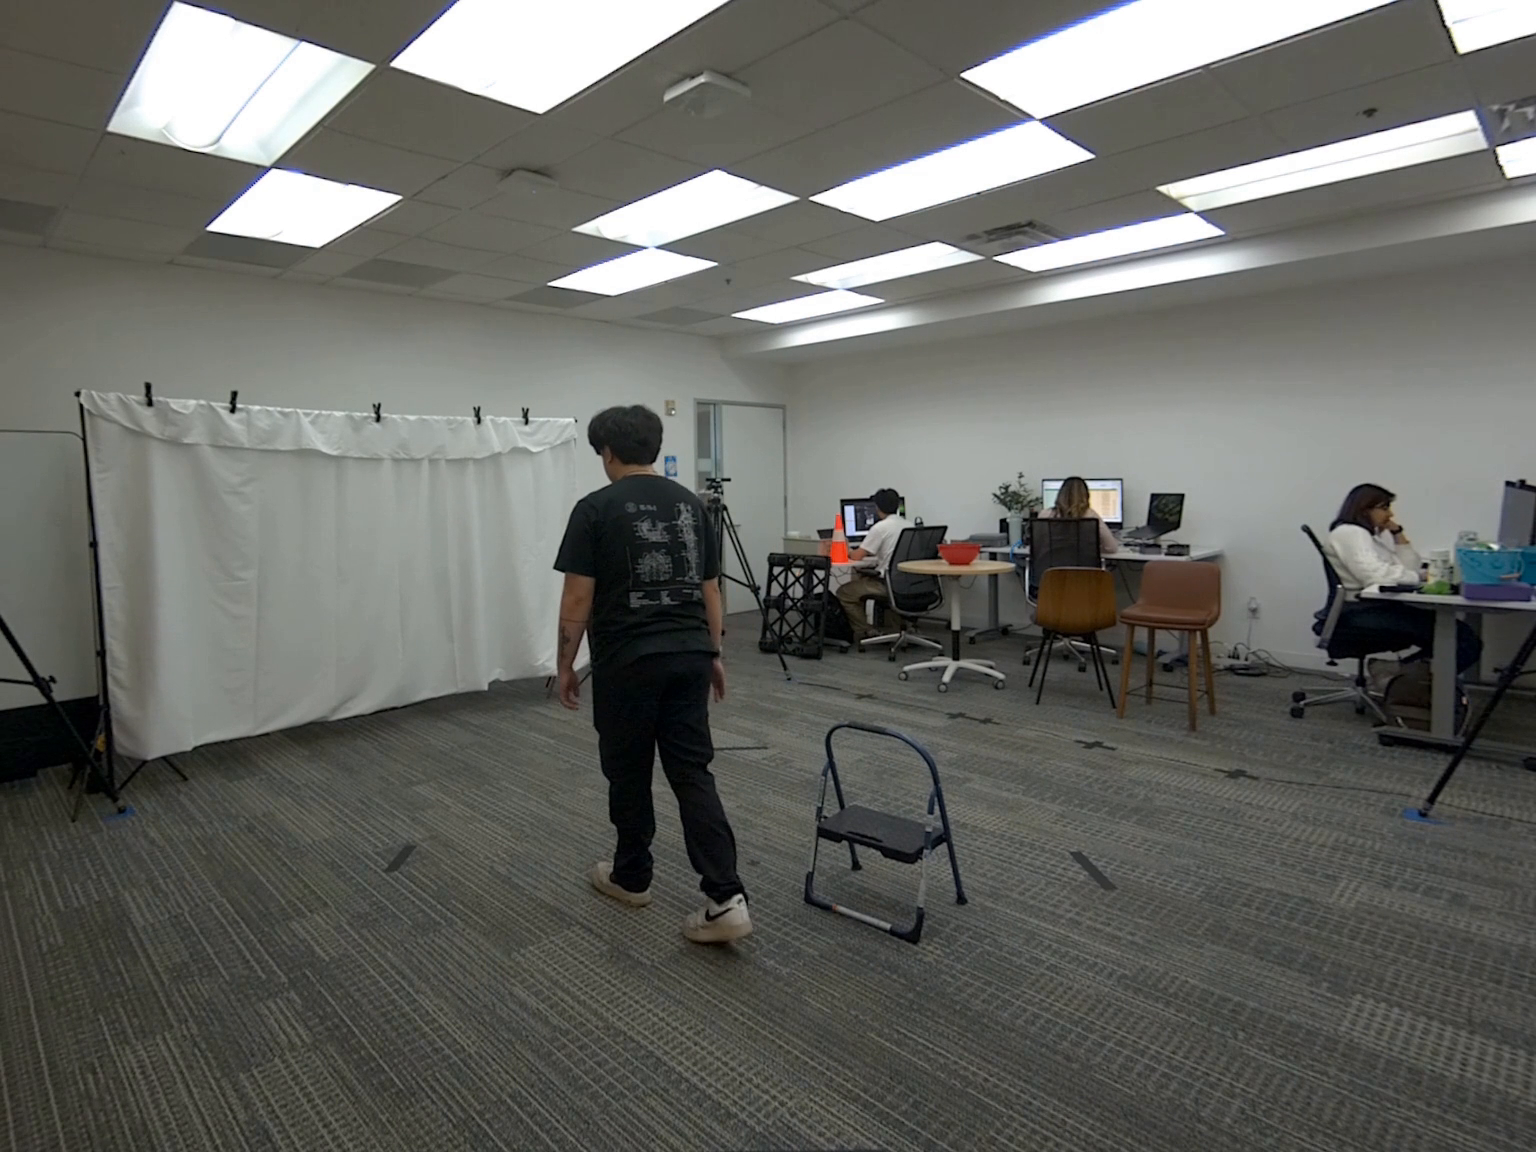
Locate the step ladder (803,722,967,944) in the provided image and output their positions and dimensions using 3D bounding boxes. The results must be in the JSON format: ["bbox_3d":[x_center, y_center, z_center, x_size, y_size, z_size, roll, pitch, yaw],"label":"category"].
[{"bbox_3d":[0.383,0.771,2.790,0.443,0.604,0.340,3,5,37],"label":"step ladder"}]
